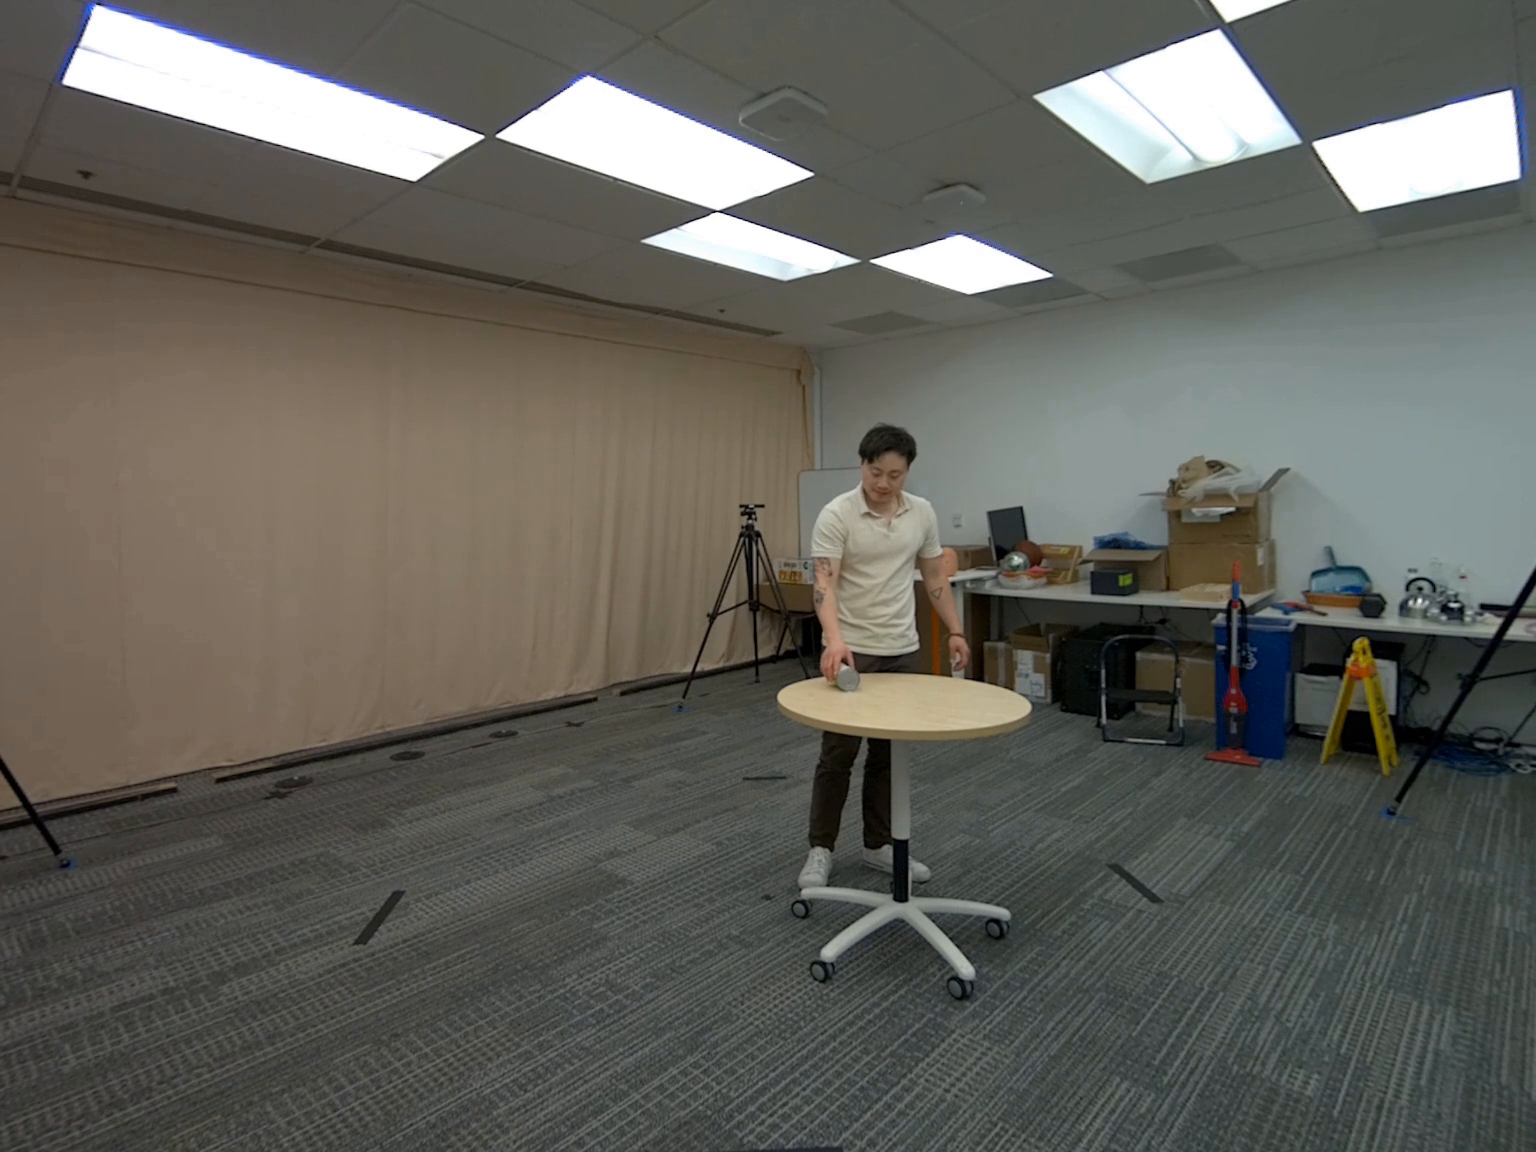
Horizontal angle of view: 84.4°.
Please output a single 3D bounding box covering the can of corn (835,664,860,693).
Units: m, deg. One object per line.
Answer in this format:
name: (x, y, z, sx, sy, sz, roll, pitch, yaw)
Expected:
can of corn: (0.250, 0.332, 2.770, 0.074, 0.074, 0.112, -1, 1, -7)
